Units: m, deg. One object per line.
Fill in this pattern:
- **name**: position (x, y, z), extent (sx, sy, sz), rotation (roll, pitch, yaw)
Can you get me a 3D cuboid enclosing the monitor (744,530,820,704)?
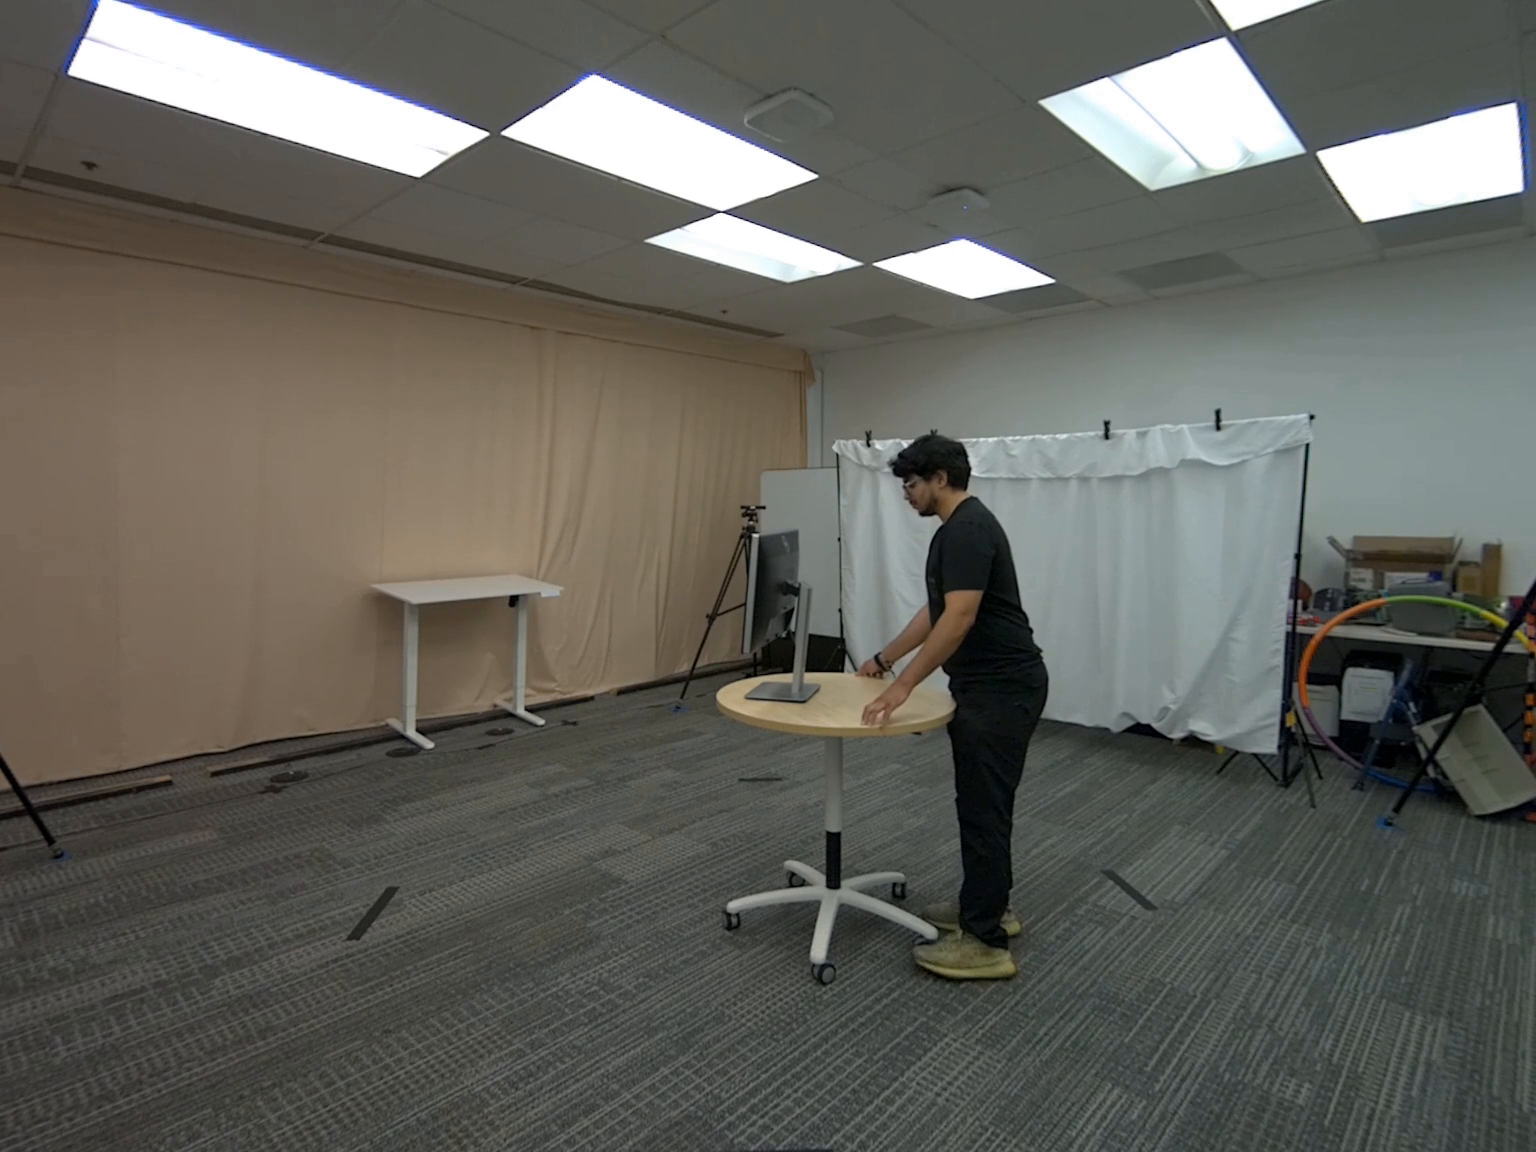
- **monitor**: position (0.079, 0.130, 2.751), extent (0.214, 0.552, 0.556), rotation (4, 5, 16)
